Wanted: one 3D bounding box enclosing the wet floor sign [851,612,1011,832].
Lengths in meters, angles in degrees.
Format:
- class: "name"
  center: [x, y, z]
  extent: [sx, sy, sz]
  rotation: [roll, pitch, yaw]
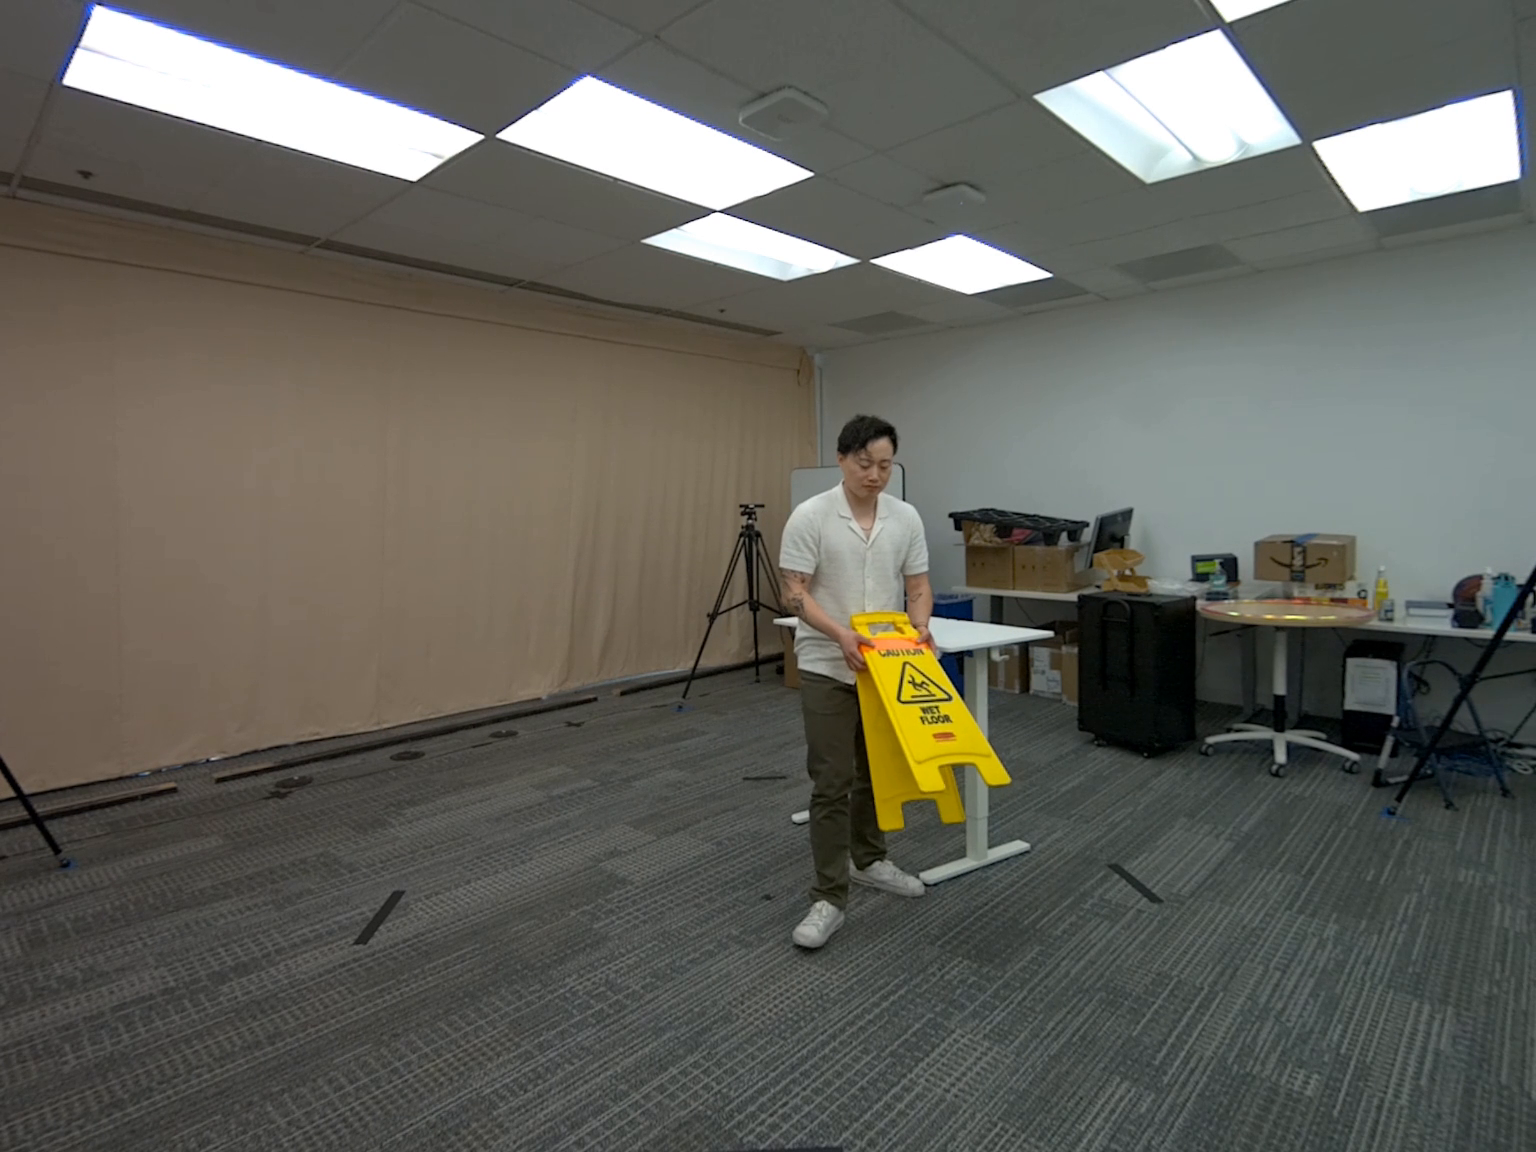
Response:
- class: "wet floor sign"
  center: [0.432, 0.386, 2.527]
  extent: [0.277, 0.661, 0.288]
  rotation: [-1, -36, -18]
